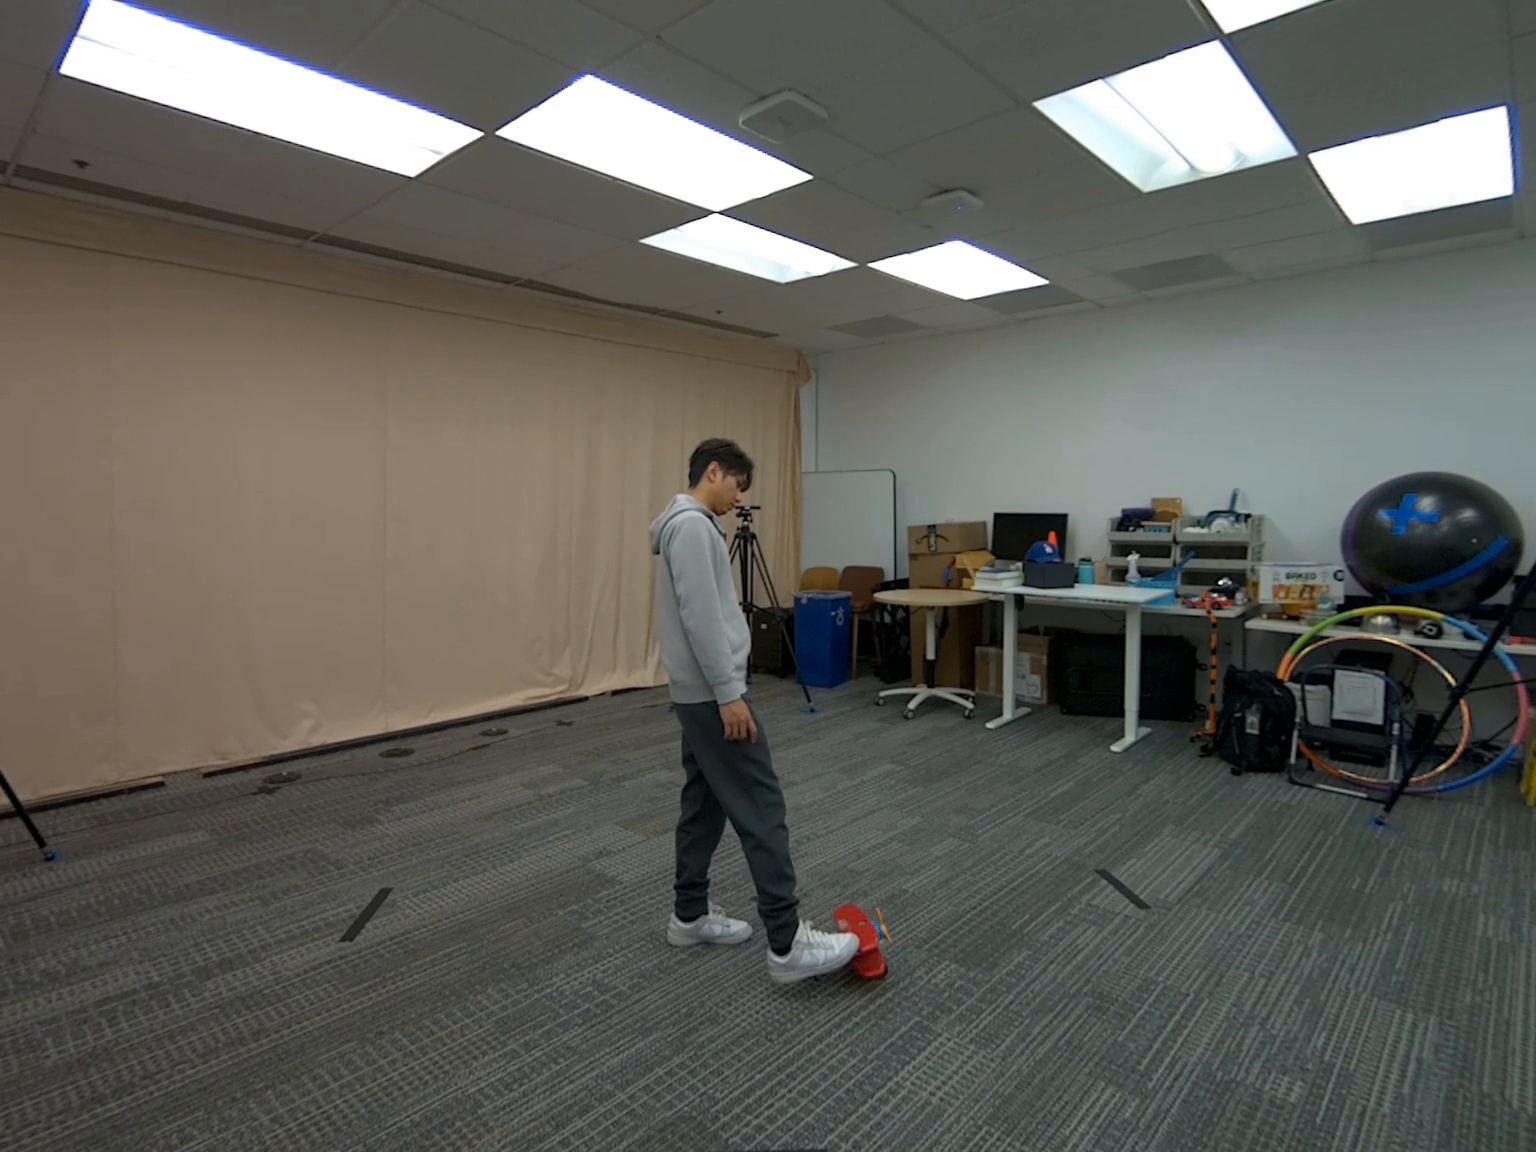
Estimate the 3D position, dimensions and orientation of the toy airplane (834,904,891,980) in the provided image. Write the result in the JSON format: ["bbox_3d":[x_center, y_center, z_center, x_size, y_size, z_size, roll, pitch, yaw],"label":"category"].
[{"bbox_3d":[0.245,1.114,2.487,0.251,0.156,0.259,-2,6,-37],"label":"toy airplane"}]
